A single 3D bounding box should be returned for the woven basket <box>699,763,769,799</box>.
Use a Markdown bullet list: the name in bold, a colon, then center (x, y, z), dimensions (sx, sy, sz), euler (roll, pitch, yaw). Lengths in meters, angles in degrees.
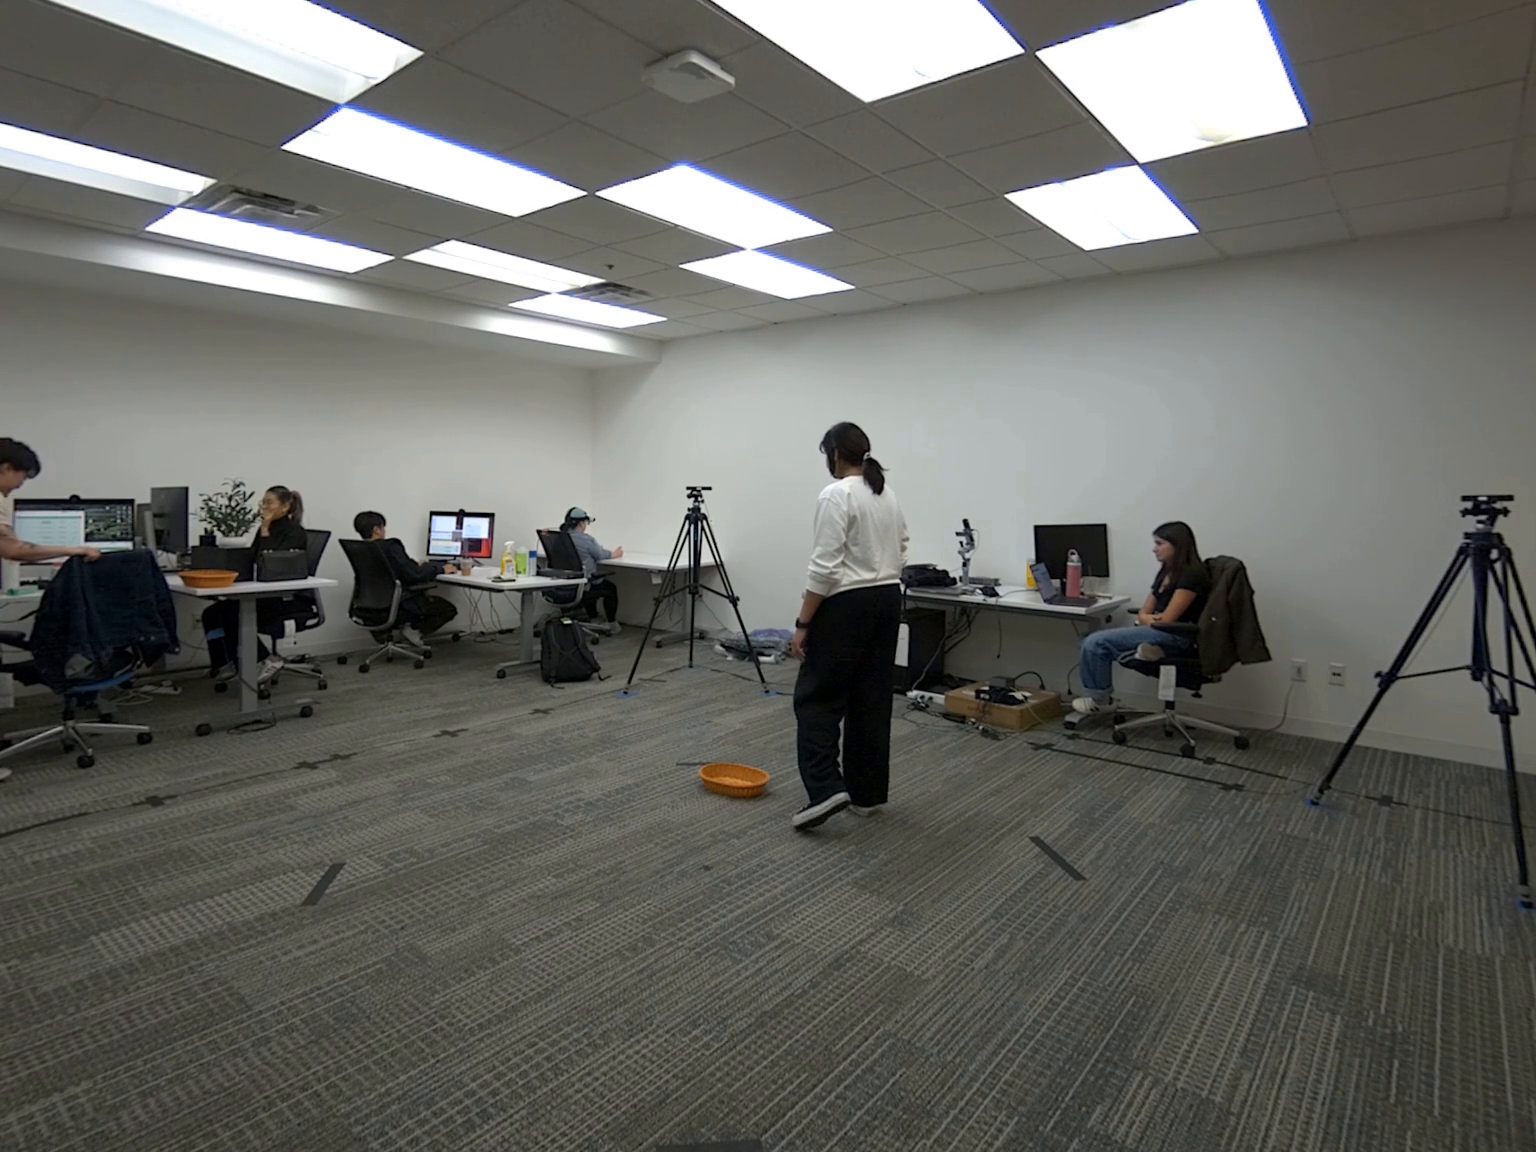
- **woven basket**: center (-0.161, 0.943, 3.934), dimensions (0.362, 0.073, 0.246), euler (5, 8, 34)
